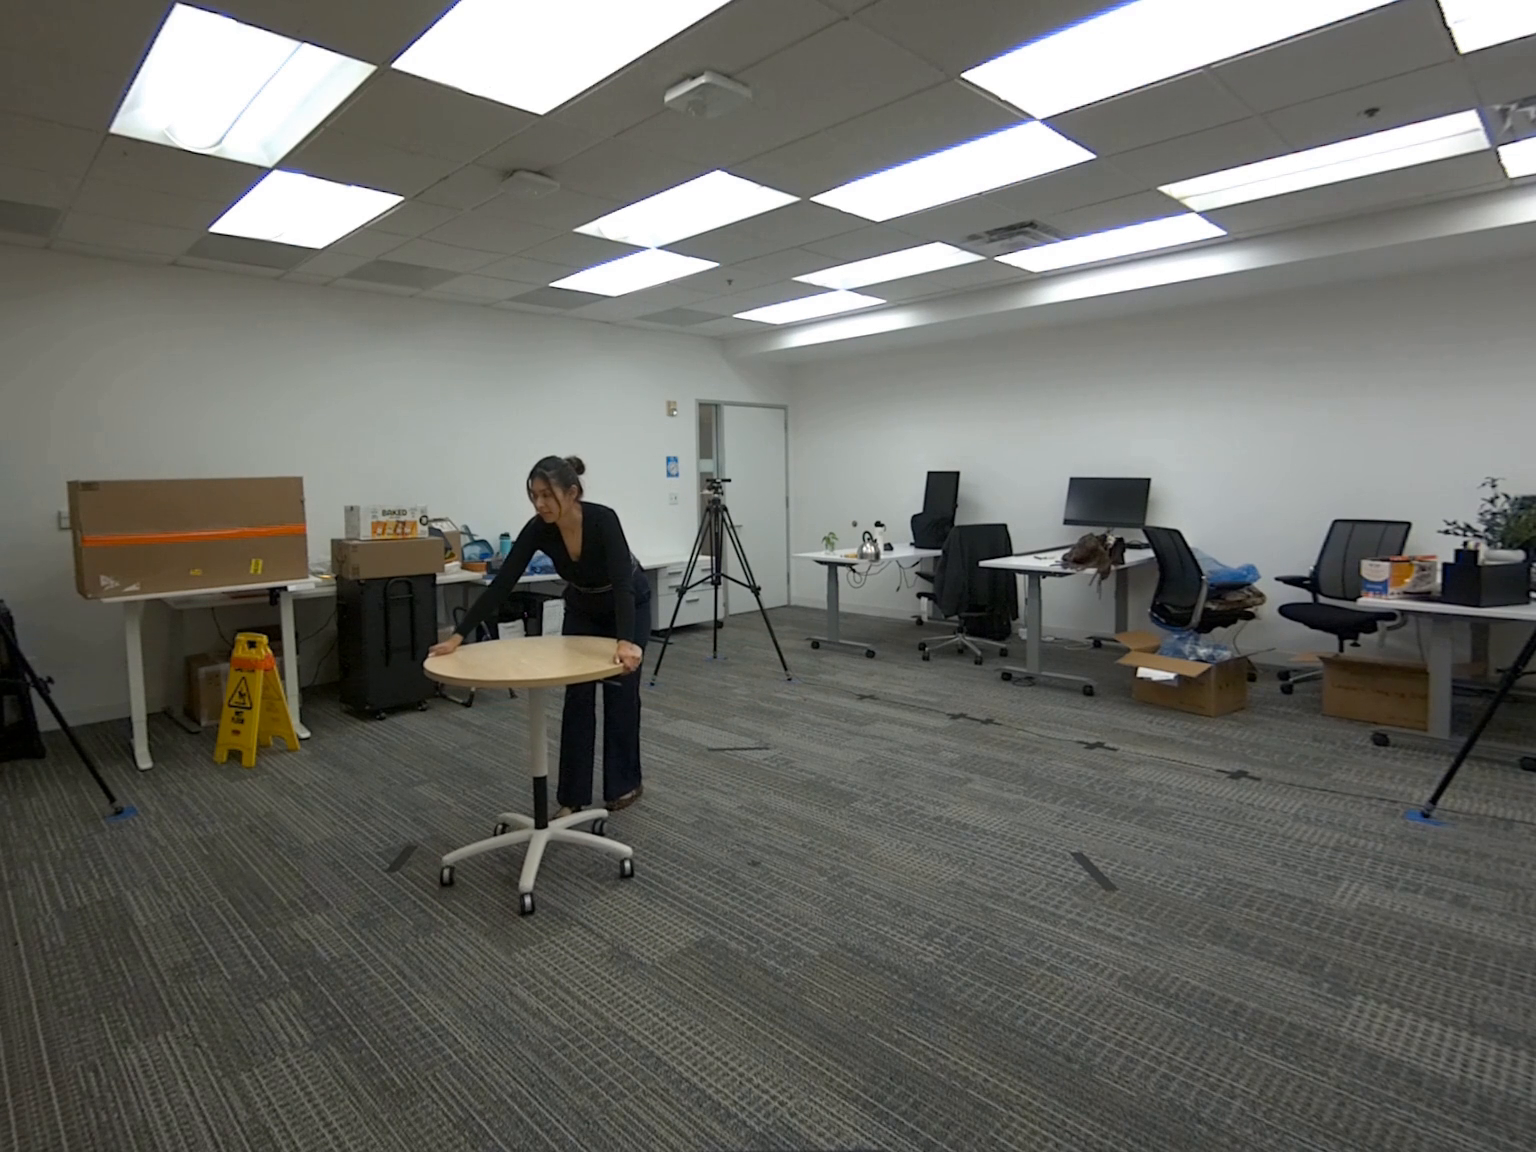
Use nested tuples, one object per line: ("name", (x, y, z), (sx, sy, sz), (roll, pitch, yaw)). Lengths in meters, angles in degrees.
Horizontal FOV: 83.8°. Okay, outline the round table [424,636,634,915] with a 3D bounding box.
("round table", (-0.823, 0.677, 3.096), (0.763, 0.791, 0.767), (-1, 4, -2))
